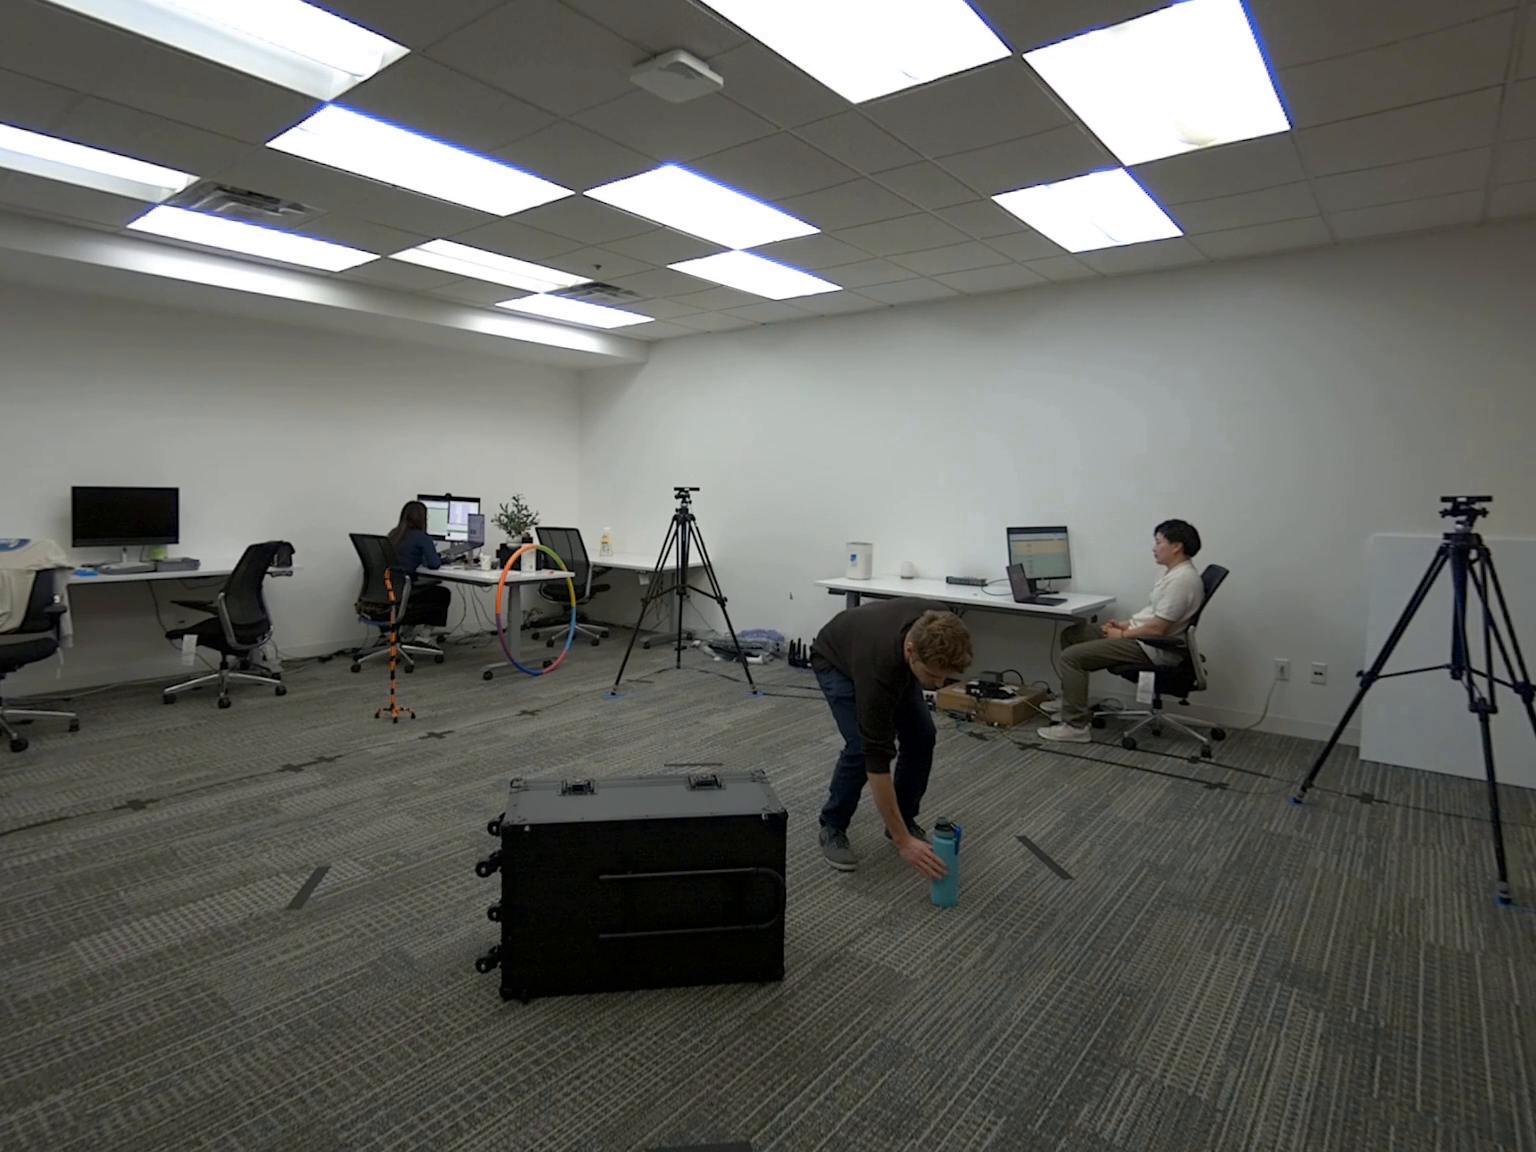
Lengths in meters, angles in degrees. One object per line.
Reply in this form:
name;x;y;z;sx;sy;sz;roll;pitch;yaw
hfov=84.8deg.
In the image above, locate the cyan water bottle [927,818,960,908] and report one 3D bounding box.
cyan water bottle;0.607;0.969;2.897;0.092;0.282;0.093;3;5;-2
